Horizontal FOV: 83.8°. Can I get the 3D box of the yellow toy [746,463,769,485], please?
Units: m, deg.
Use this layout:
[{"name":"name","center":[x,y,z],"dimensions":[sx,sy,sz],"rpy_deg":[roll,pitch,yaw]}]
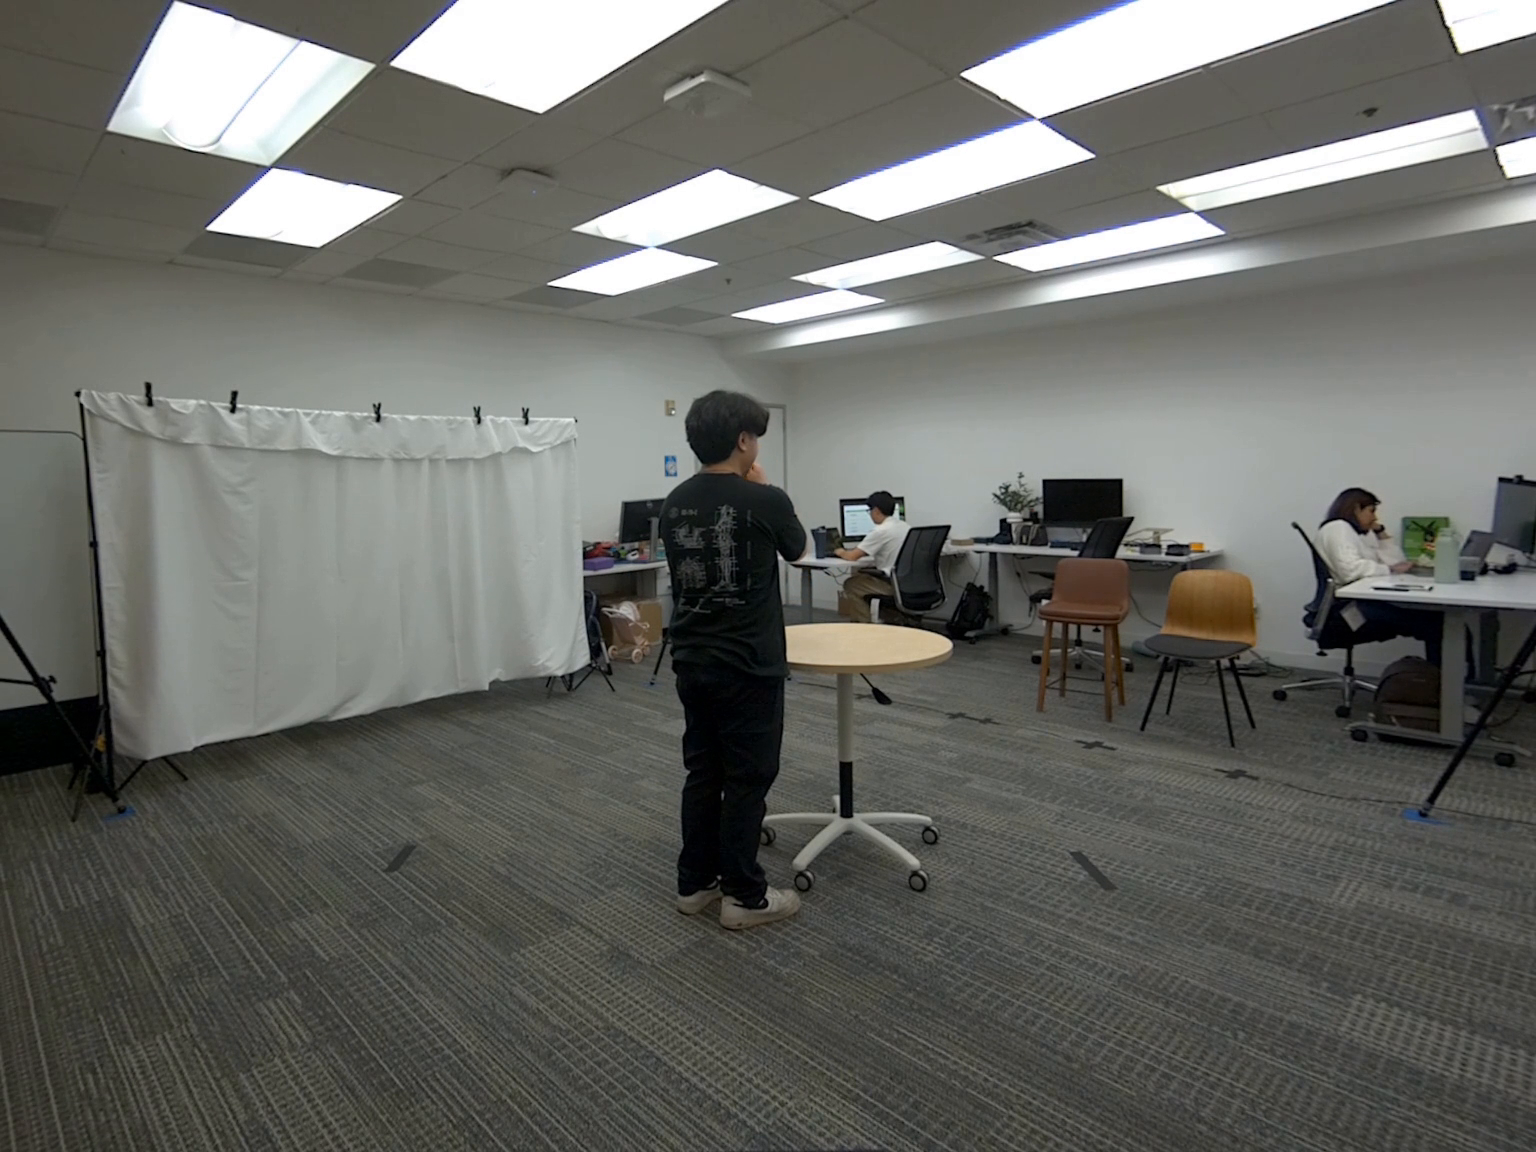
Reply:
[{"name":"yellow toy","center":[-0.137,-0.450,2.962],"dimensions":[0.194,0.228,0.206],"rpy_deg":[9,16,2]}]
